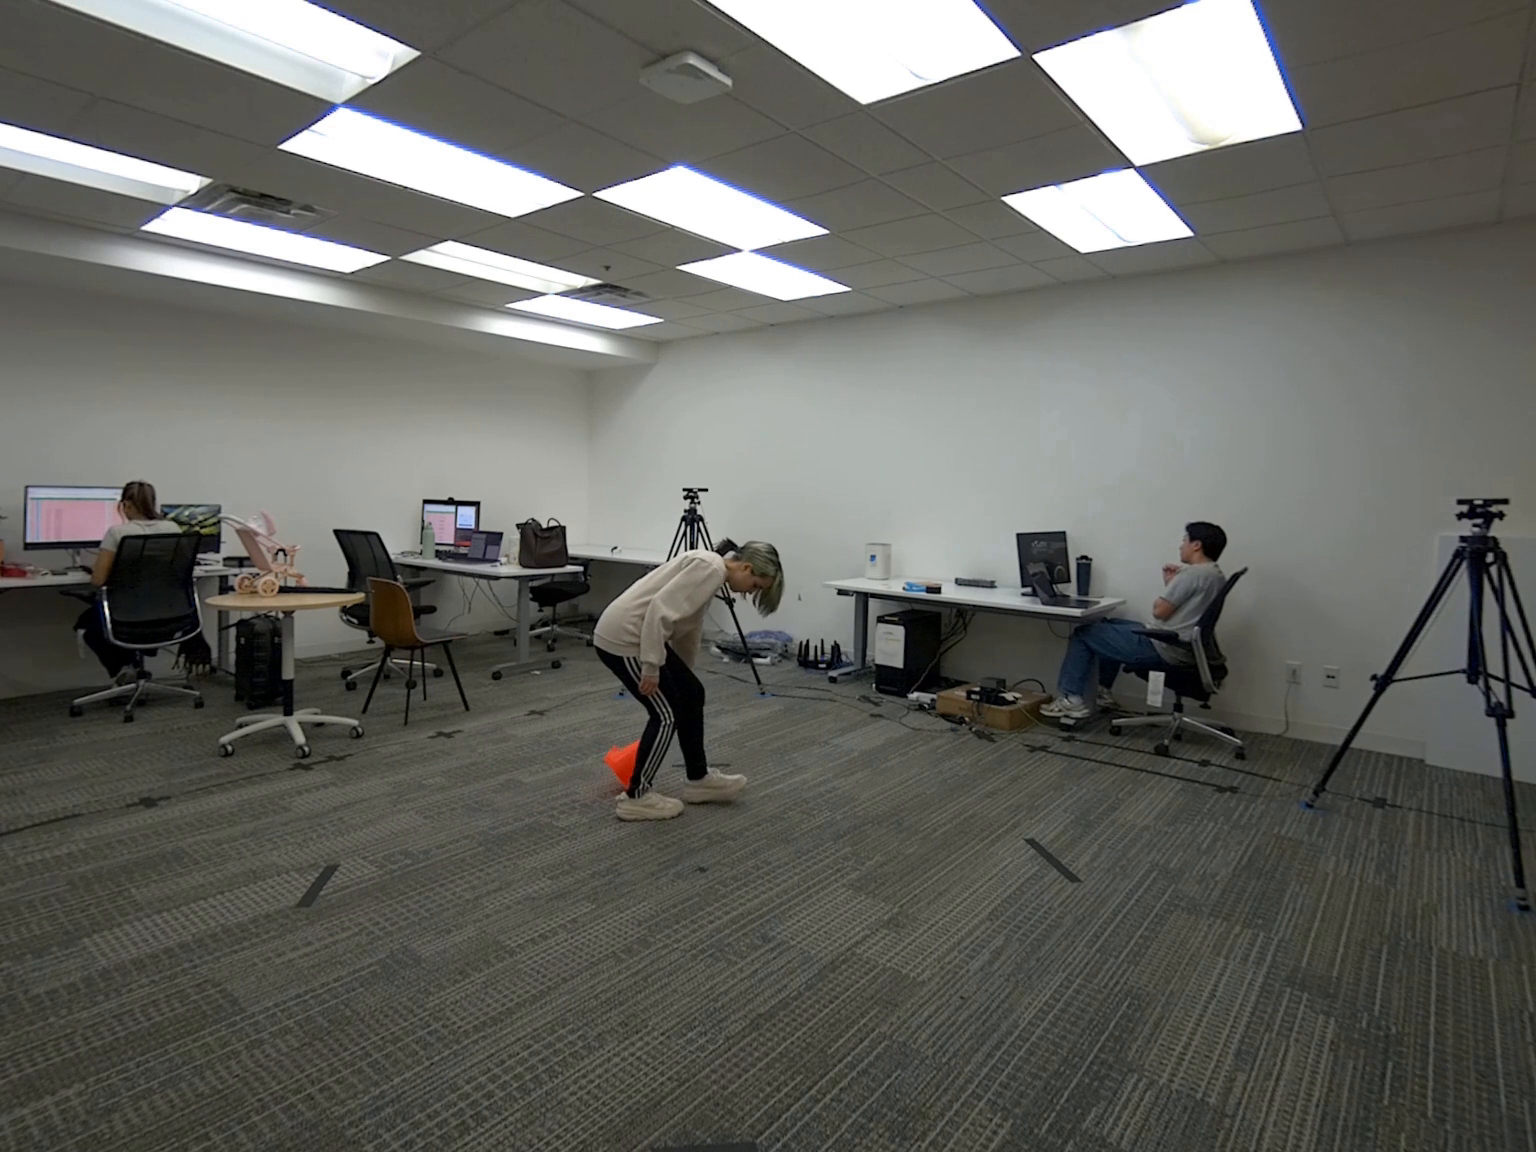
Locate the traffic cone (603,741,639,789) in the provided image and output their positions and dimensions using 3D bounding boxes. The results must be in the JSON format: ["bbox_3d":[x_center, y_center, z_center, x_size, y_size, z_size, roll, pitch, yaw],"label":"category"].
[{"bbox_3d":[-0.555,0.781,3.950,0.384,0.205,0.203,-39,-4,8],"label":"traffic cone"}]
